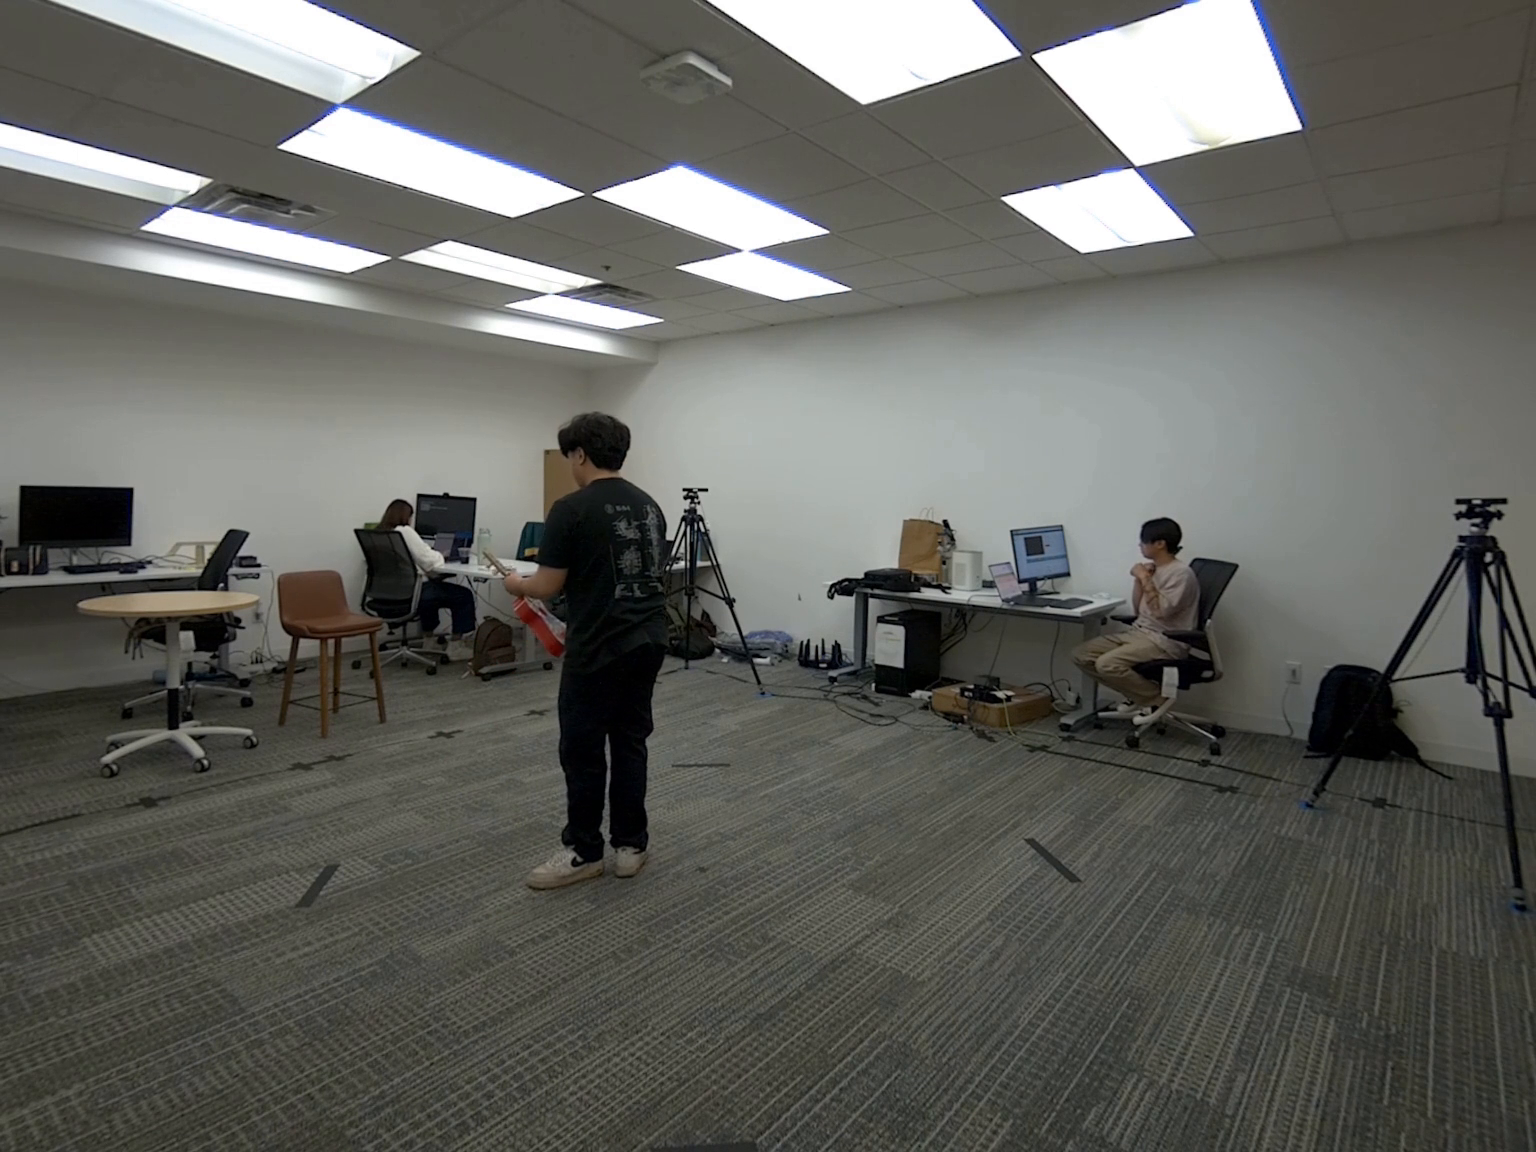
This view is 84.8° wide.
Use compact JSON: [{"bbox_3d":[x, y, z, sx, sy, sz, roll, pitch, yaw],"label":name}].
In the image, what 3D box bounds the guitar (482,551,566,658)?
[{"bbox_3d":[-0.929,0.097,3.251,0.071,0.503,0.191,-43,-7,4],"label":"guitar"}]
